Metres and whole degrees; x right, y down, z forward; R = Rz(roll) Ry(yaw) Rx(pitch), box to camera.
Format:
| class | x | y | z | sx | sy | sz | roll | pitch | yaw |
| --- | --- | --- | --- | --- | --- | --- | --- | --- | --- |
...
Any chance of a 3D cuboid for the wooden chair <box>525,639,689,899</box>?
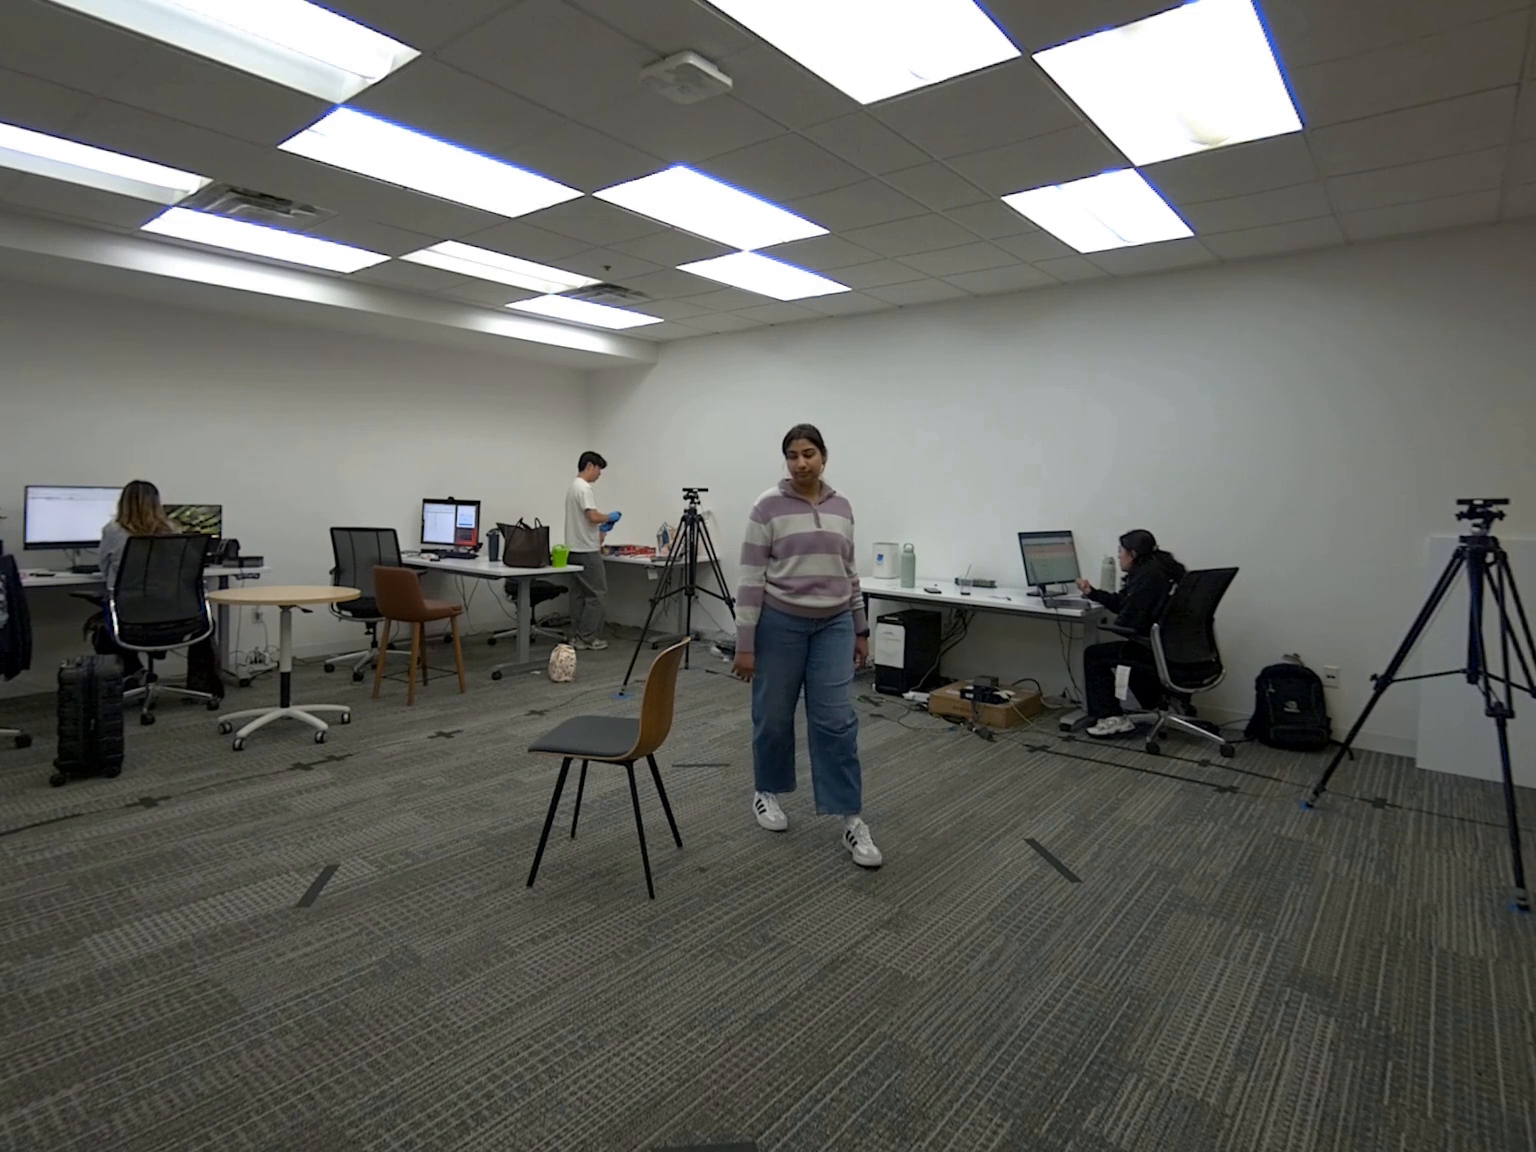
| class | x | y | z | sx | sy | sz | roll | pitch | yaw |
| --- | --- | --- | --- | --- | --- | --- | --- | --- | --- |
| wooden chair | -0.593 | 0.638 | 3.100 | 0.529 | 0.875 | 0.474 | 5 | 4 | 8 |
